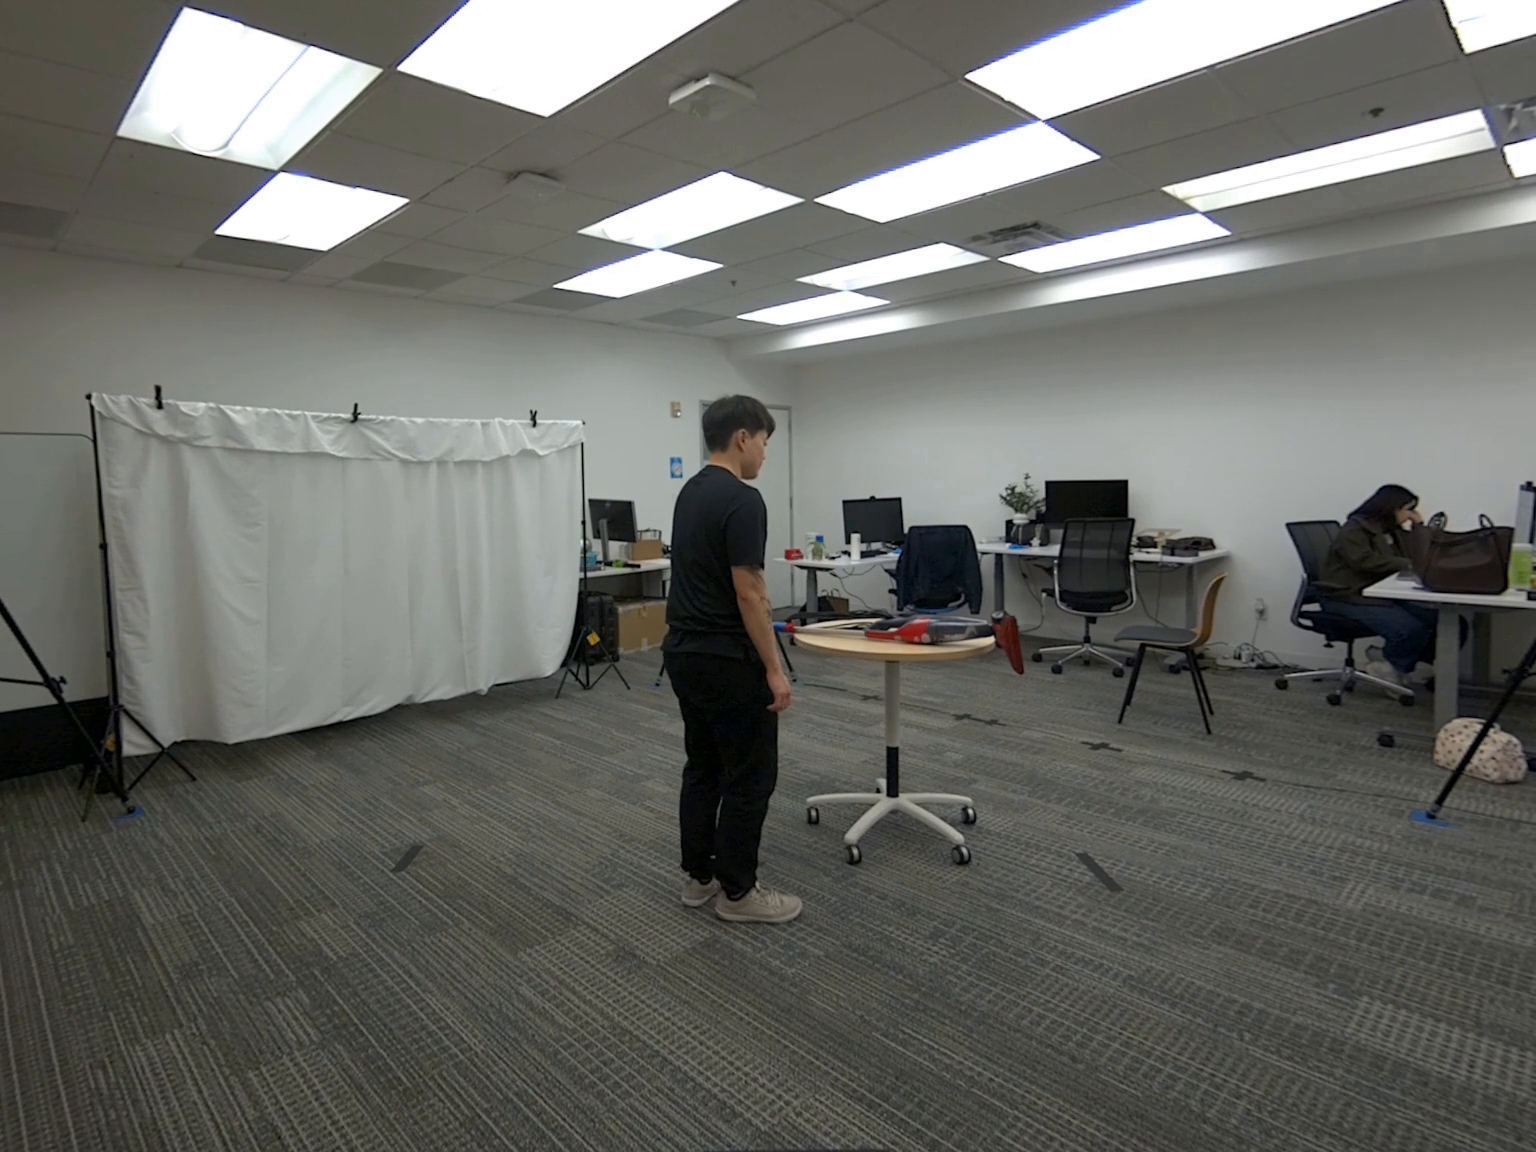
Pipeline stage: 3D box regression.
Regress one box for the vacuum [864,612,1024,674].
[{"bbox_3d":[0.398,0.207,3.251,1.078,0.245,0.144,2,37,32],"label":"vacuum"}]
